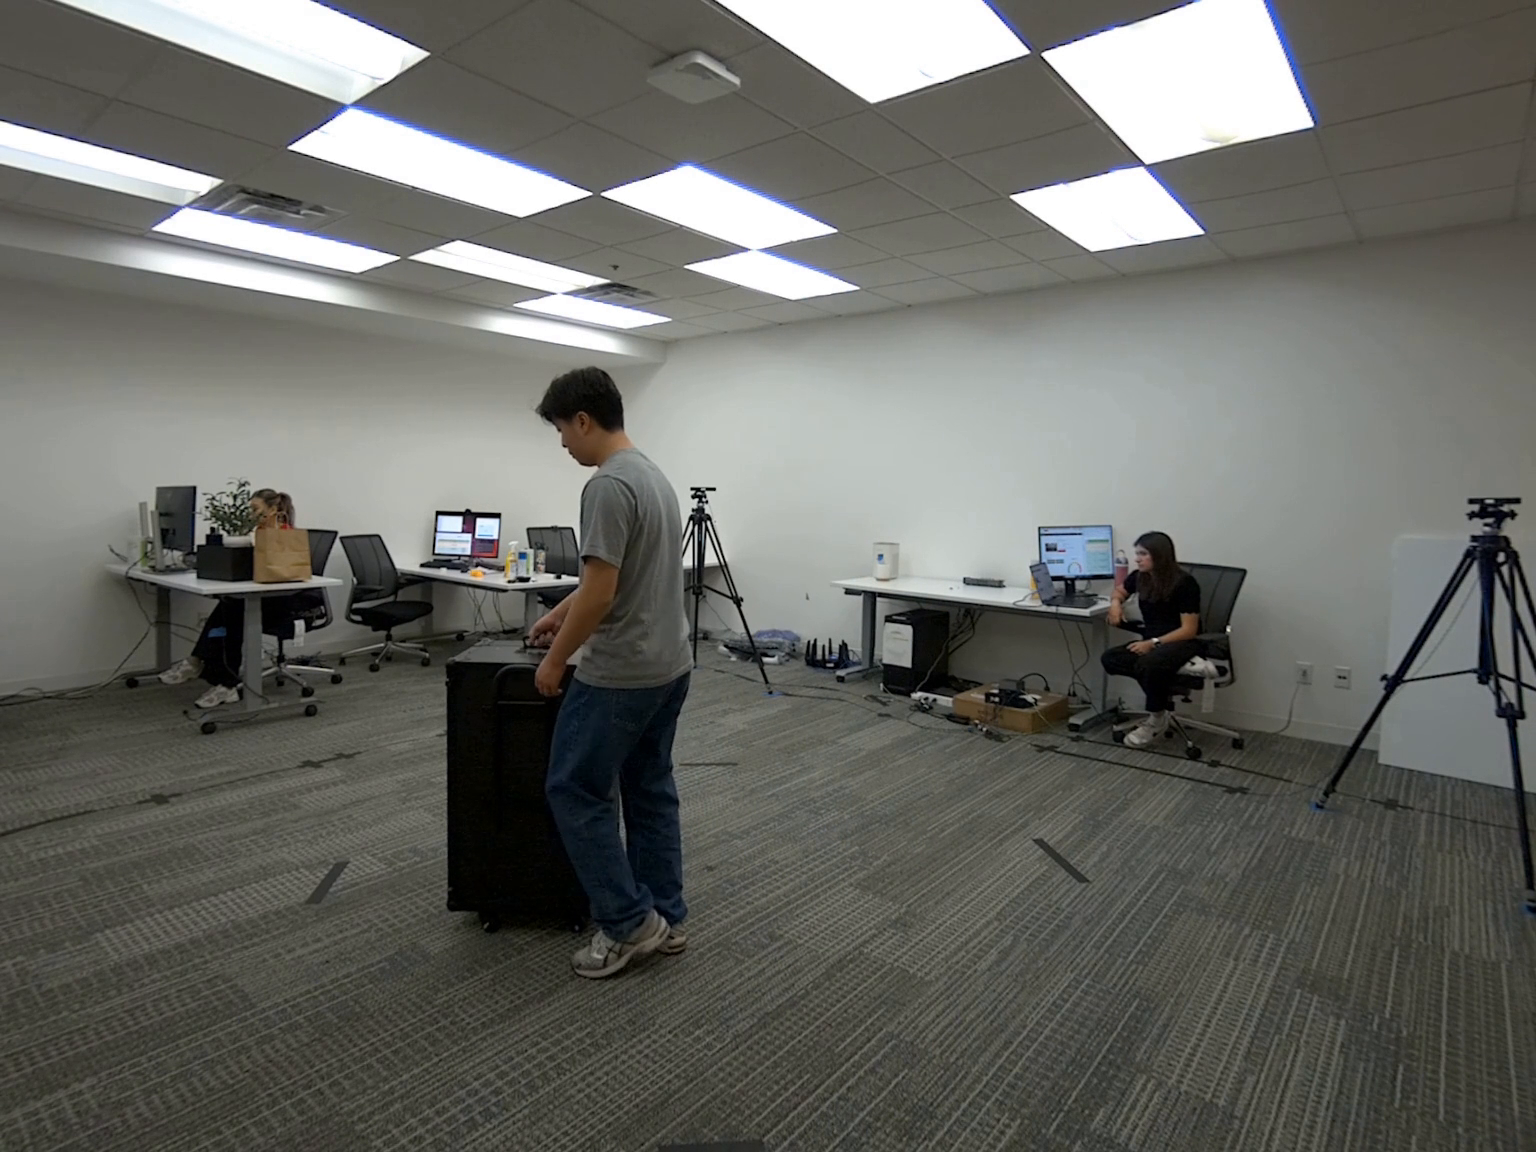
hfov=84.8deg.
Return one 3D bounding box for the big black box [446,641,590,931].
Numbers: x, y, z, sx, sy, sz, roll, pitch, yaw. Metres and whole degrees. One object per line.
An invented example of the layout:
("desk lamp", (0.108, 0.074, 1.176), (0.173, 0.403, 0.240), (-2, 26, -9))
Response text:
("big black box", (-0.758, 0.668, 2.757), (0.523, 0.859, 0.396), (1, 3, 2))
